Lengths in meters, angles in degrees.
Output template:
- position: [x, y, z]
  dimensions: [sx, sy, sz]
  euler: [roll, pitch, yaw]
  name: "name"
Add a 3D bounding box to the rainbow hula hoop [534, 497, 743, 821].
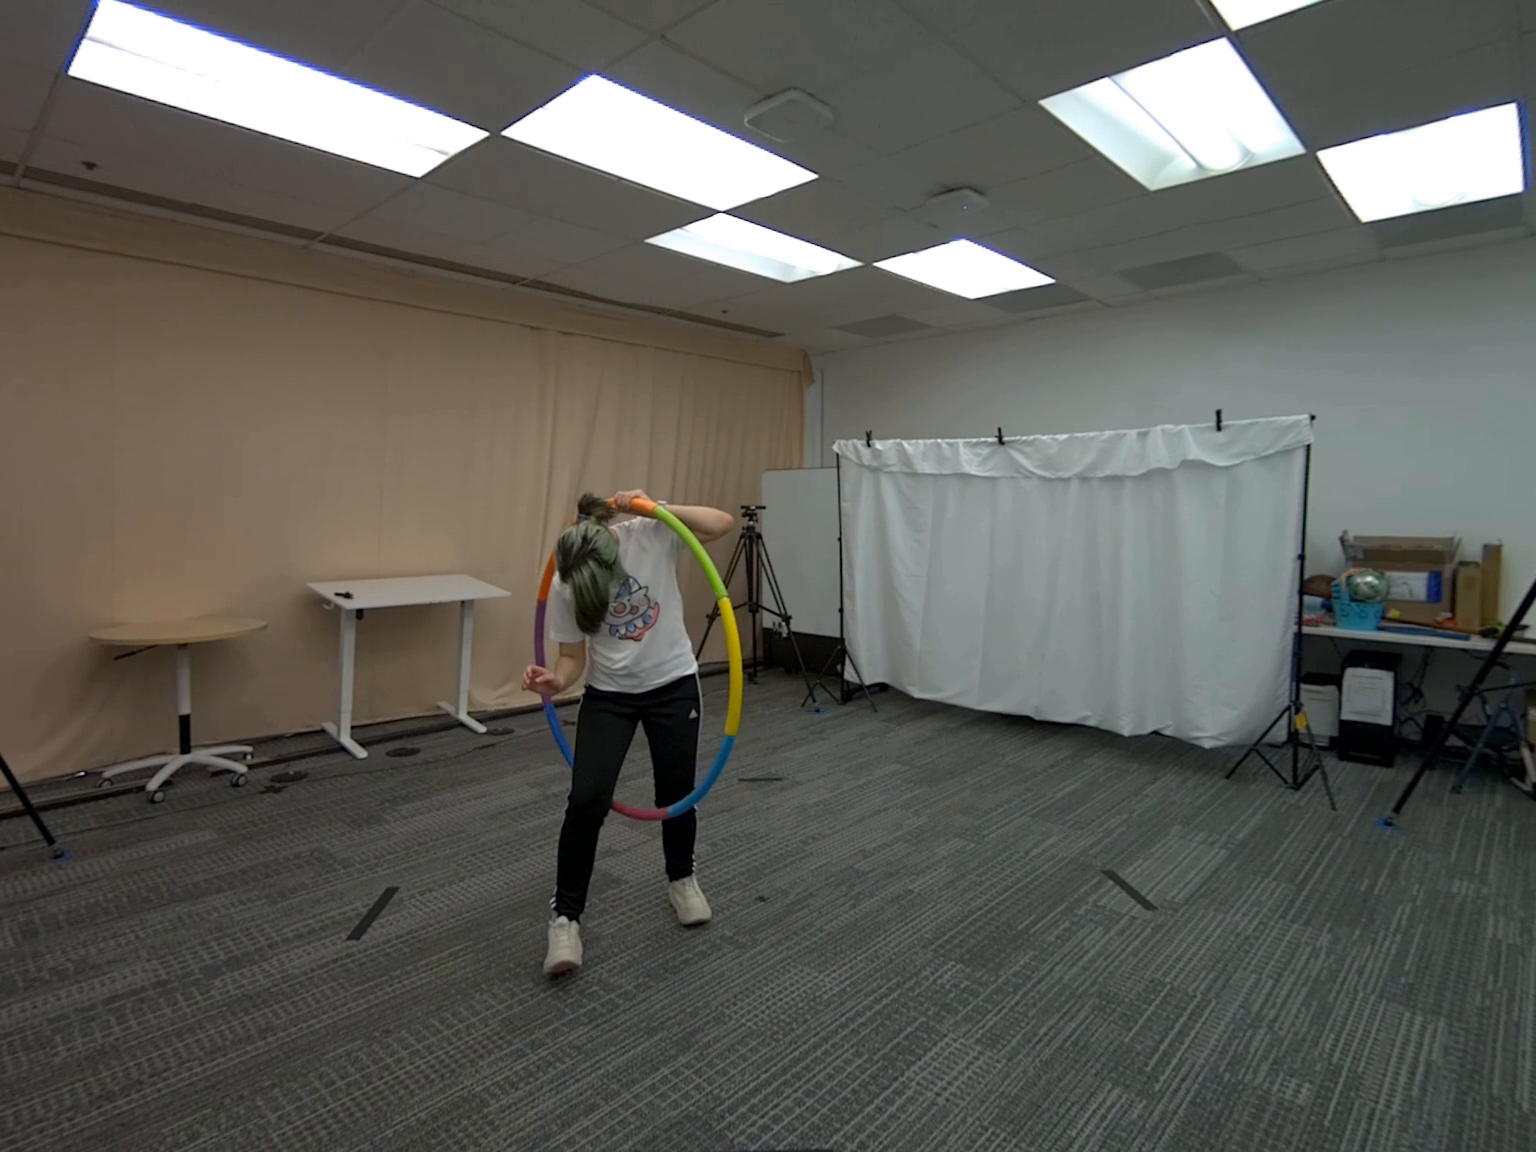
- position: [-0.439, 0.252, 2.606]
  dimensions: [1.011, 0.976, 0.034]
  euler: [4, 4, 43]
  name: "rainbow hula hoop"
